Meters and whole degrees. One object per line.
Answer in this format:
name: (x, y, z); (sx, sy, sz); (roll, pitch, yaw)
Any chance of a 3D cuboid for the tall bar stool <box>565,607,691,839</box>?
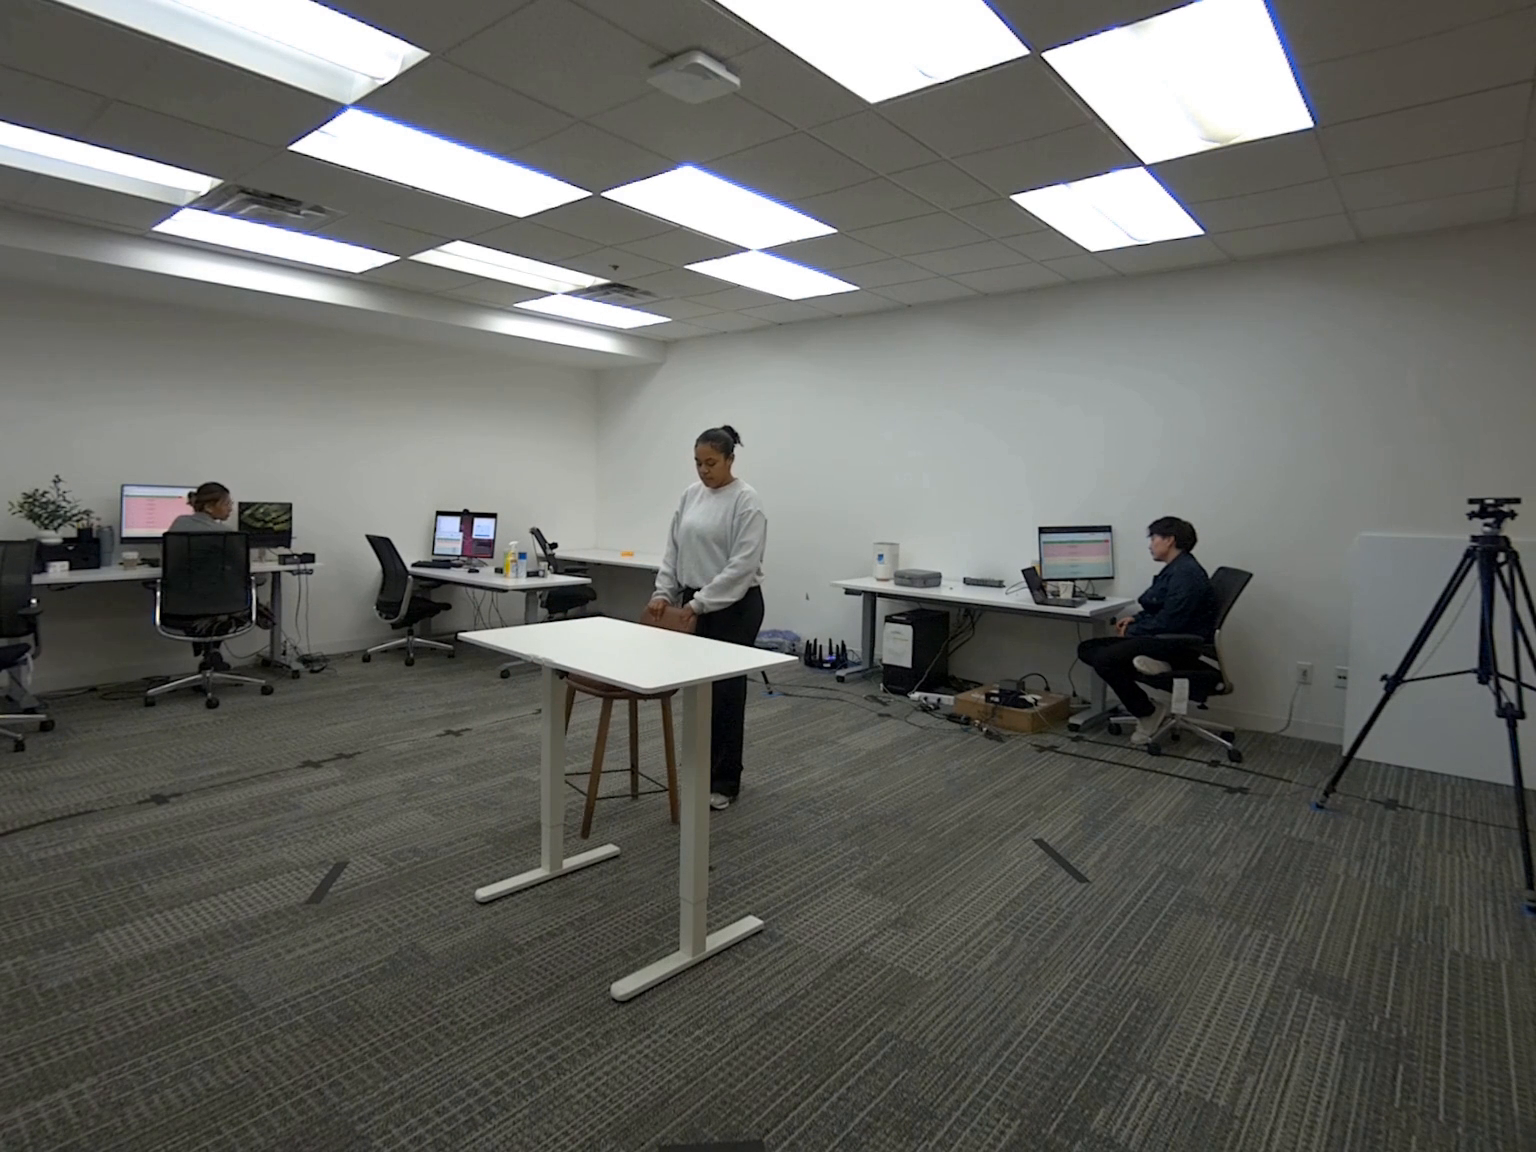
tall bar stool: (-0.624, 0.563, 3.550); (0.452, 0.891, 0.471); (7, -2, -37)
